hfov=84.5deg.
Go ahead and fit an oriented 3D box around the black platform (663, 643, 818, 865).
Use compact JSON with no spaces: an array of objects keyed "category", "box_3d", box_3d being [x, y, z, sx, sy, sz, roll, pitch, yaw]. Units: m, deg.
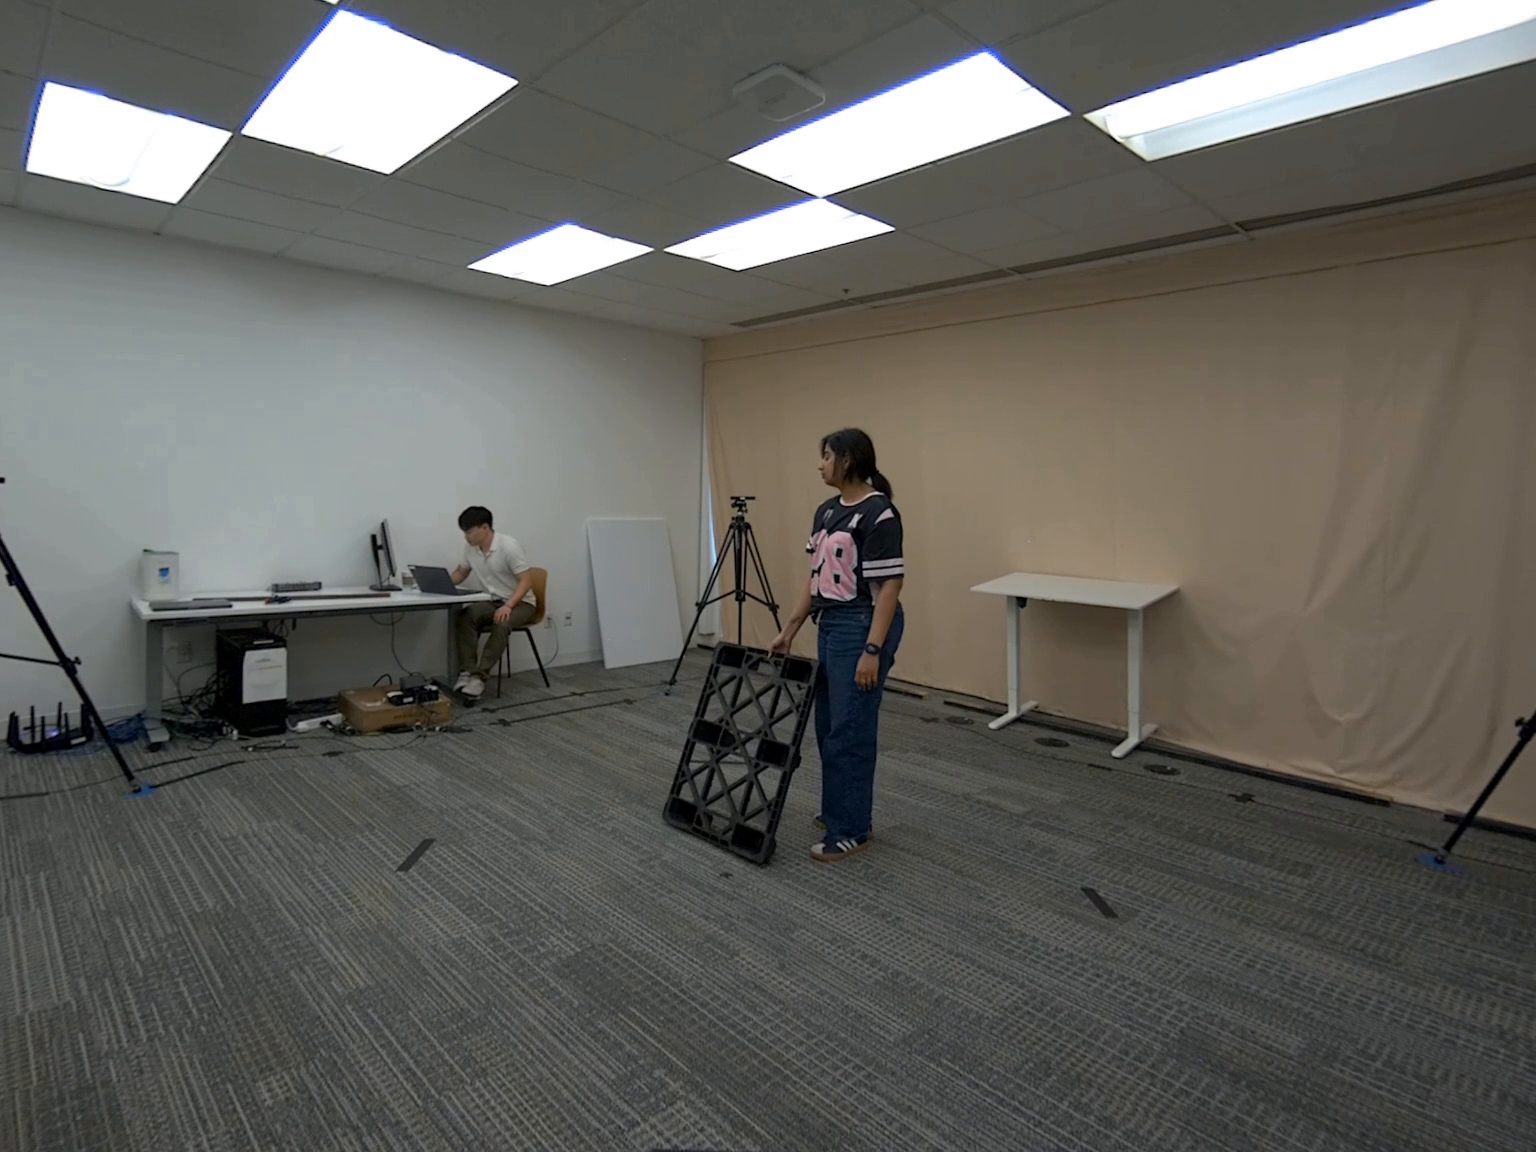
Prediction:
[{"category":"black platform","box_3d":[-0.092,0.705,3.497,0.621,0.810,0.139,5,-18,45]}]
